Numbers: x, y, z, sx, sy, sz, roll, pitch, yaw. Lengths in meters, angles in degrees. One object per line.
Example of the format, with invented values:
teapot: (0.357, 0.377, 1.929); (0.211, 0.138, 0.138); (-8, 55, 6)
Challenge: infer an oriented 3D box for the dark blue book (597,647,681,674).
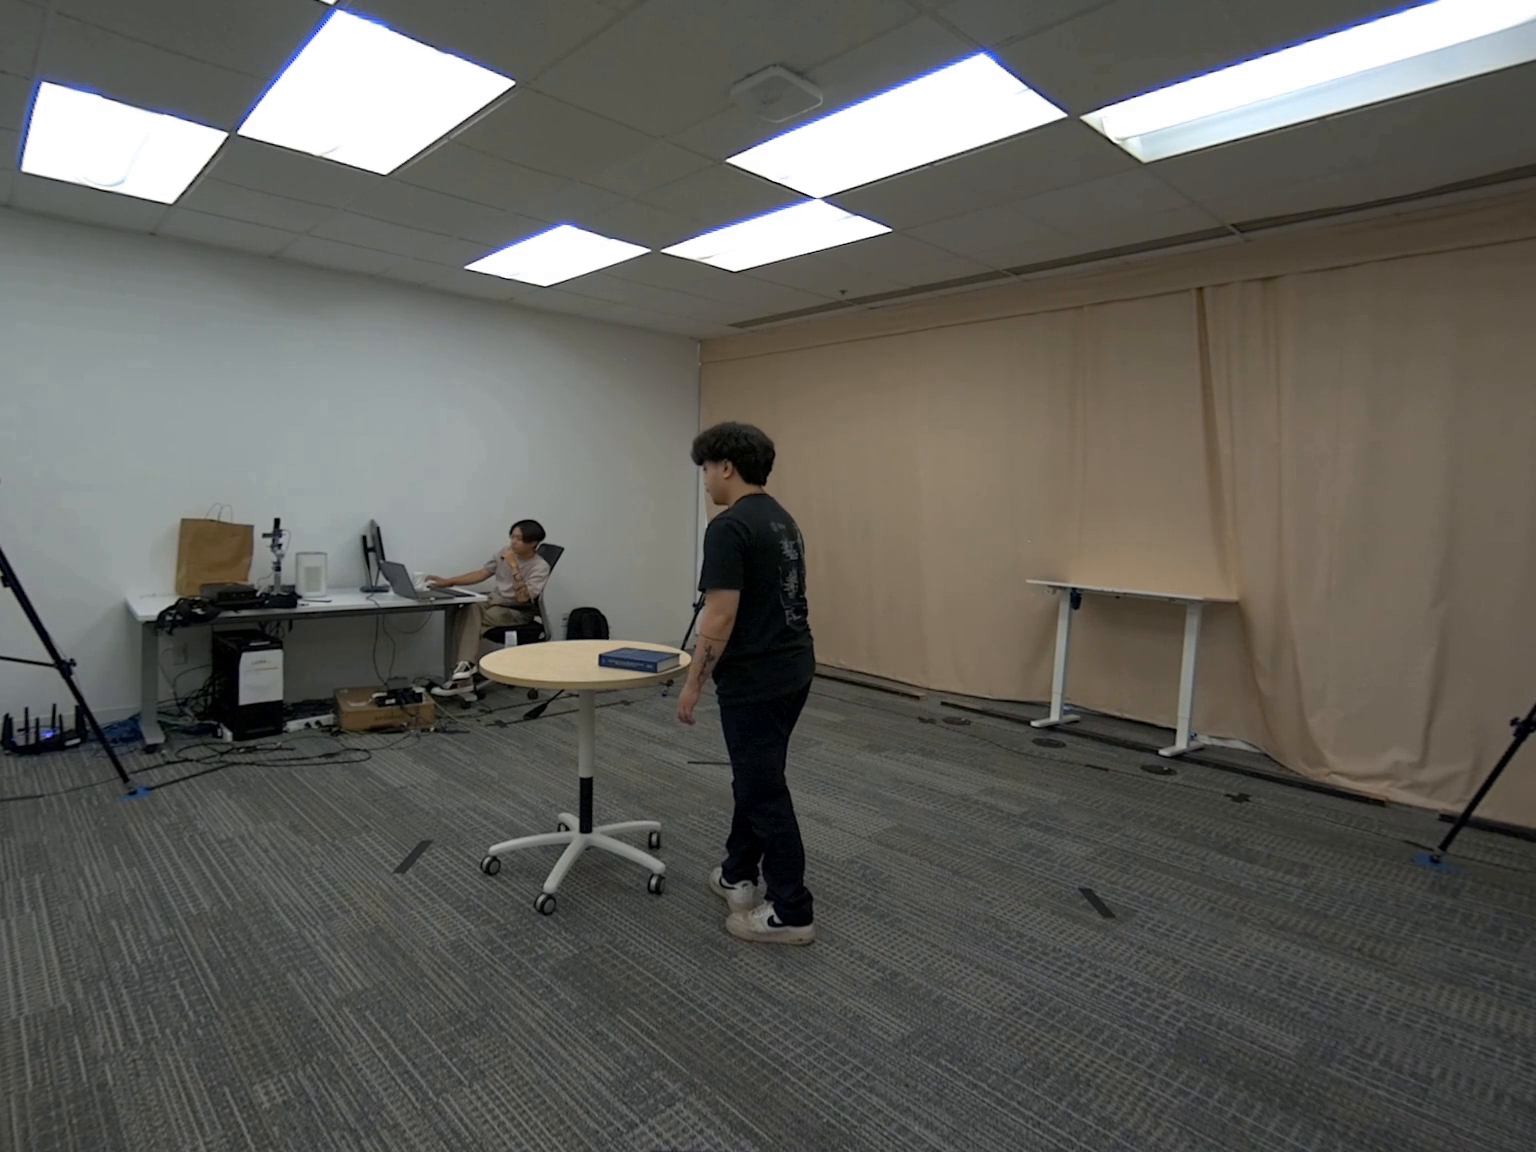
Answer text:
dark blue book: (-0.459, 0.296, 2.981); (0.250, 0.045, 0.160); (3, 5, 26)
